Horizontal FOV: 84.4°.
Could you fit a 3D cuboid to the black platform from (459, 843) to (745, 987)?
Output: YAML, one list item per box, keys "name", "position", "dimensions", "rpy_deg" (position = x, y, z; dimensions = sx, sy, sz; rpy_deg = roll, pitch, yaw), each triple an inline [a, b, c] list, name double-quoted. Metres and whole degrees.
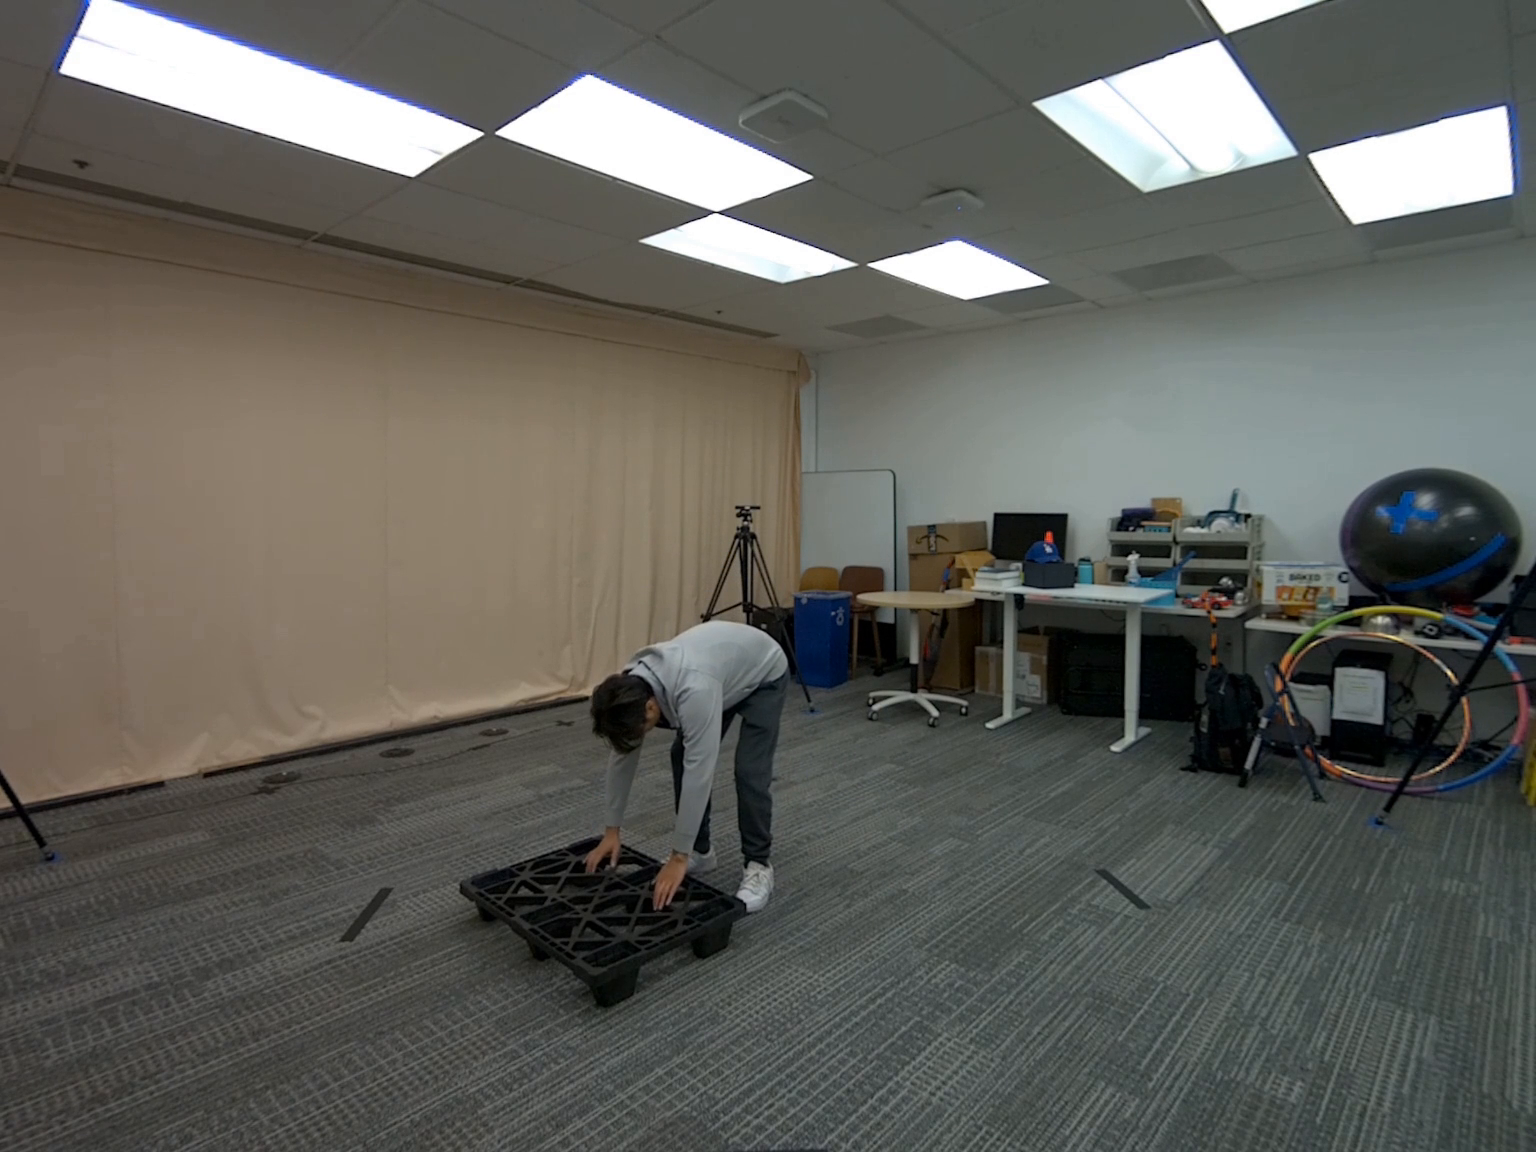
- name: "black platform"
  position: [-0.555, 1.100, 2.759]
  dimensions: [0.586, 0.143, 0.832]
  rpy_deg: [-5, 6, -44]
